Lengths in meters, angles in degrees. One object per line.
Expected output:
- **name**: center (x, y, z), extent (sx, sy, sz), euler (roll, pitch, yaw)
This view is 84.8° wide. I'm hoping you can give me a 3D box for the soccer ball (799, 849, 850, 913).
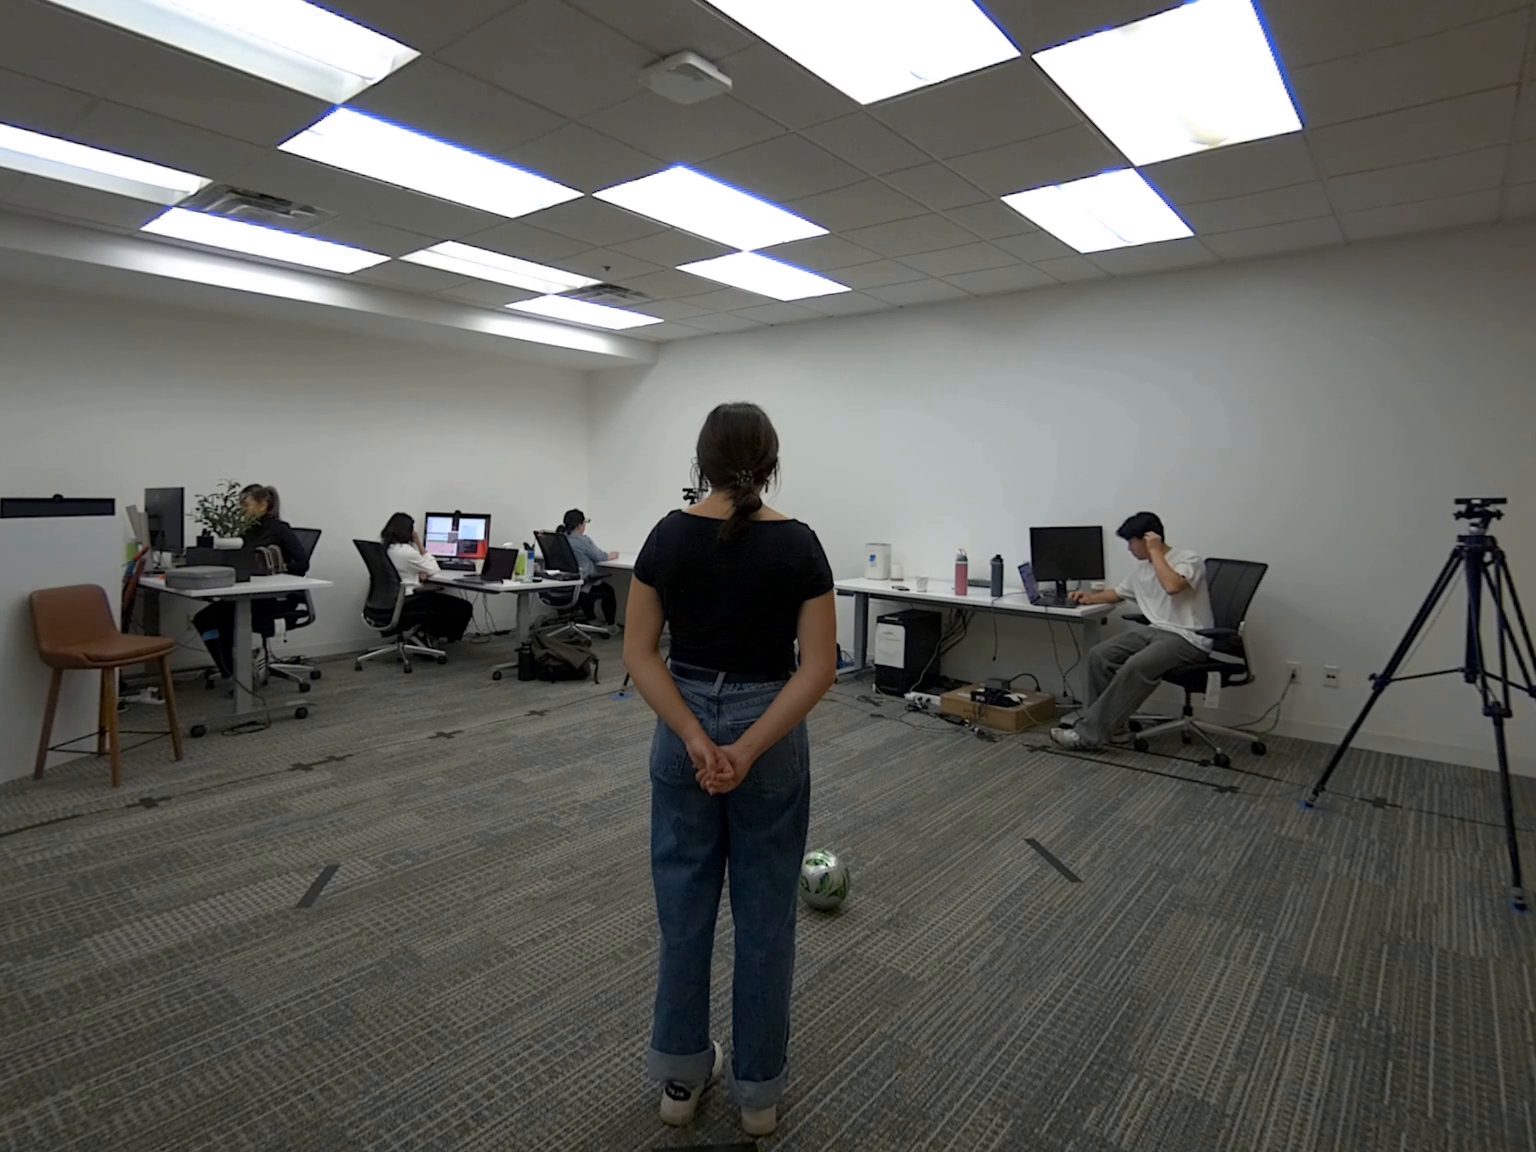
- **soccer ball**: center (0.182, 1.004, 2.846), extent (0.187, 0.187, 0.188), euler (1, 4, -2)
